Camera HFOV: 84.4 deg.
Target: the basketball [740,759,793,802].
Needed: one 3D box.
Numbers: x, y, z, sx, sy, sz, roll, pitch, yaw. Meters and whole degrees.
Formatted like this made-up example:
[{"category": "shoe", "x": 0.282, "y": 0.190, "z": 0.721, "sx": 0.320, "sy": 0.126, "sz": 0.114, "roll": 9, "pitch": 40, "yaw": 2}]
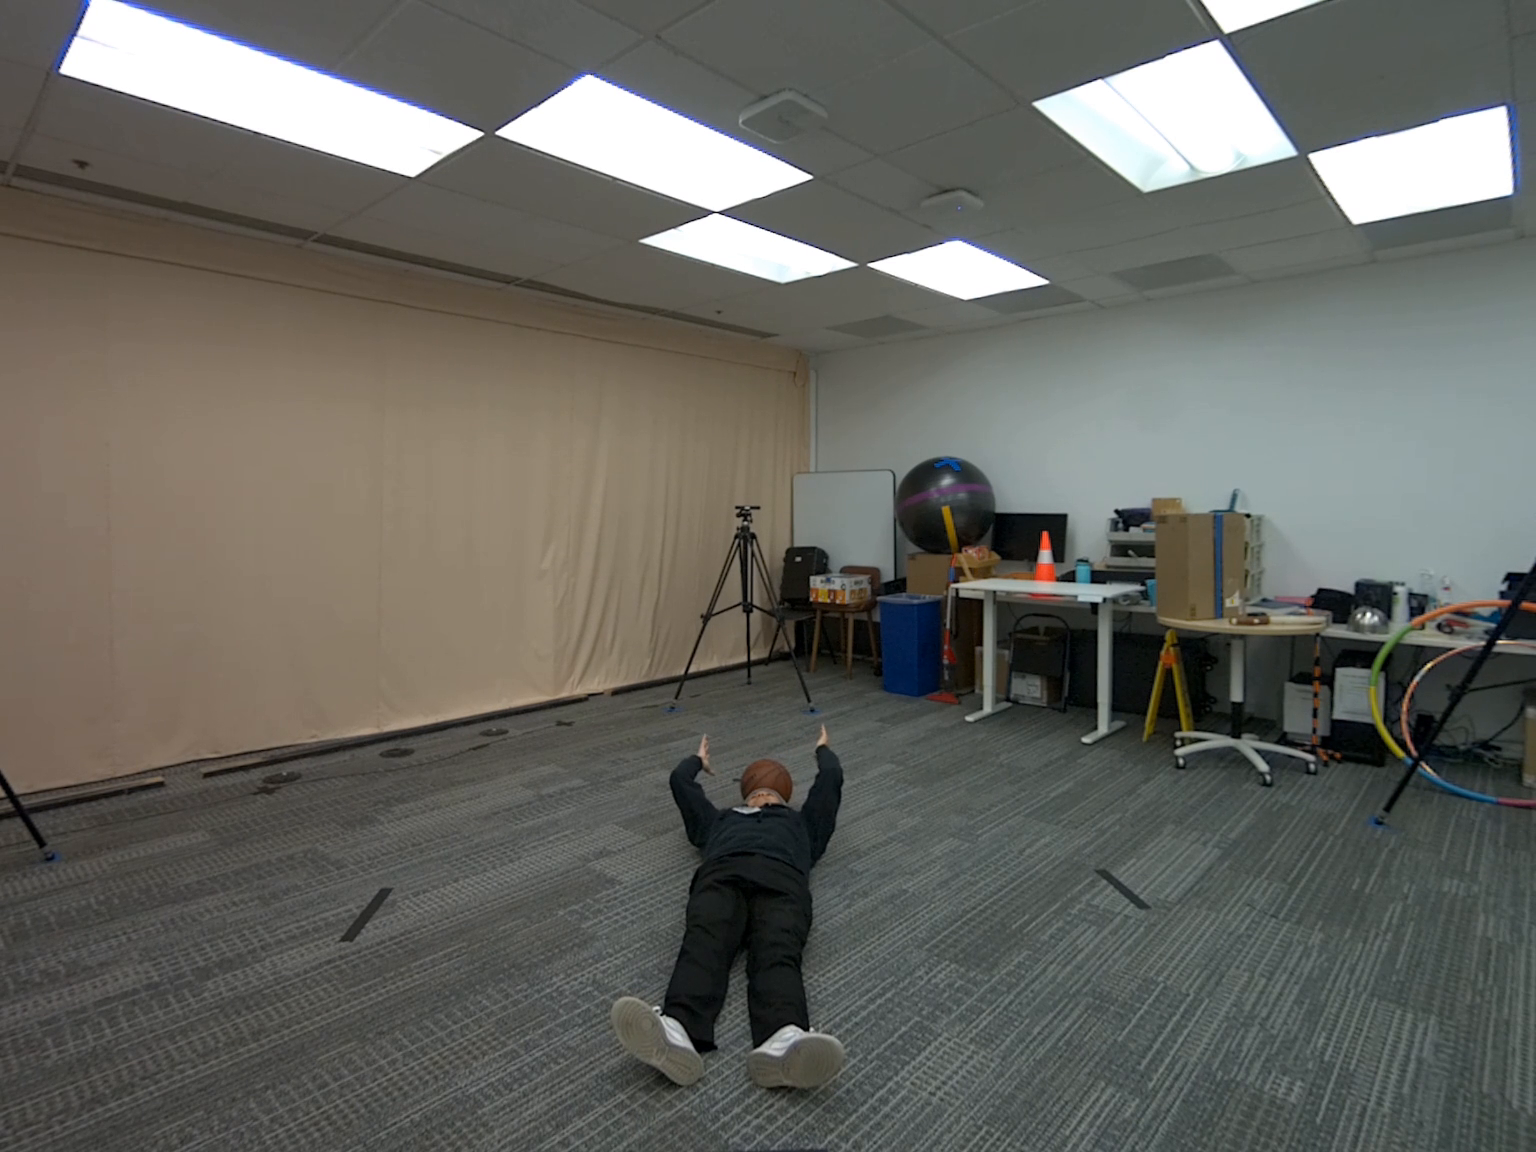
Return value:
[{"category": "basketball", "x": -0.009, "y": 0.953, "z": 3.835, "sx": 0.236, "sy": 0.235, "sz": 0.237, "roll": 0, "pitch": 4, "yaw": -2}]
